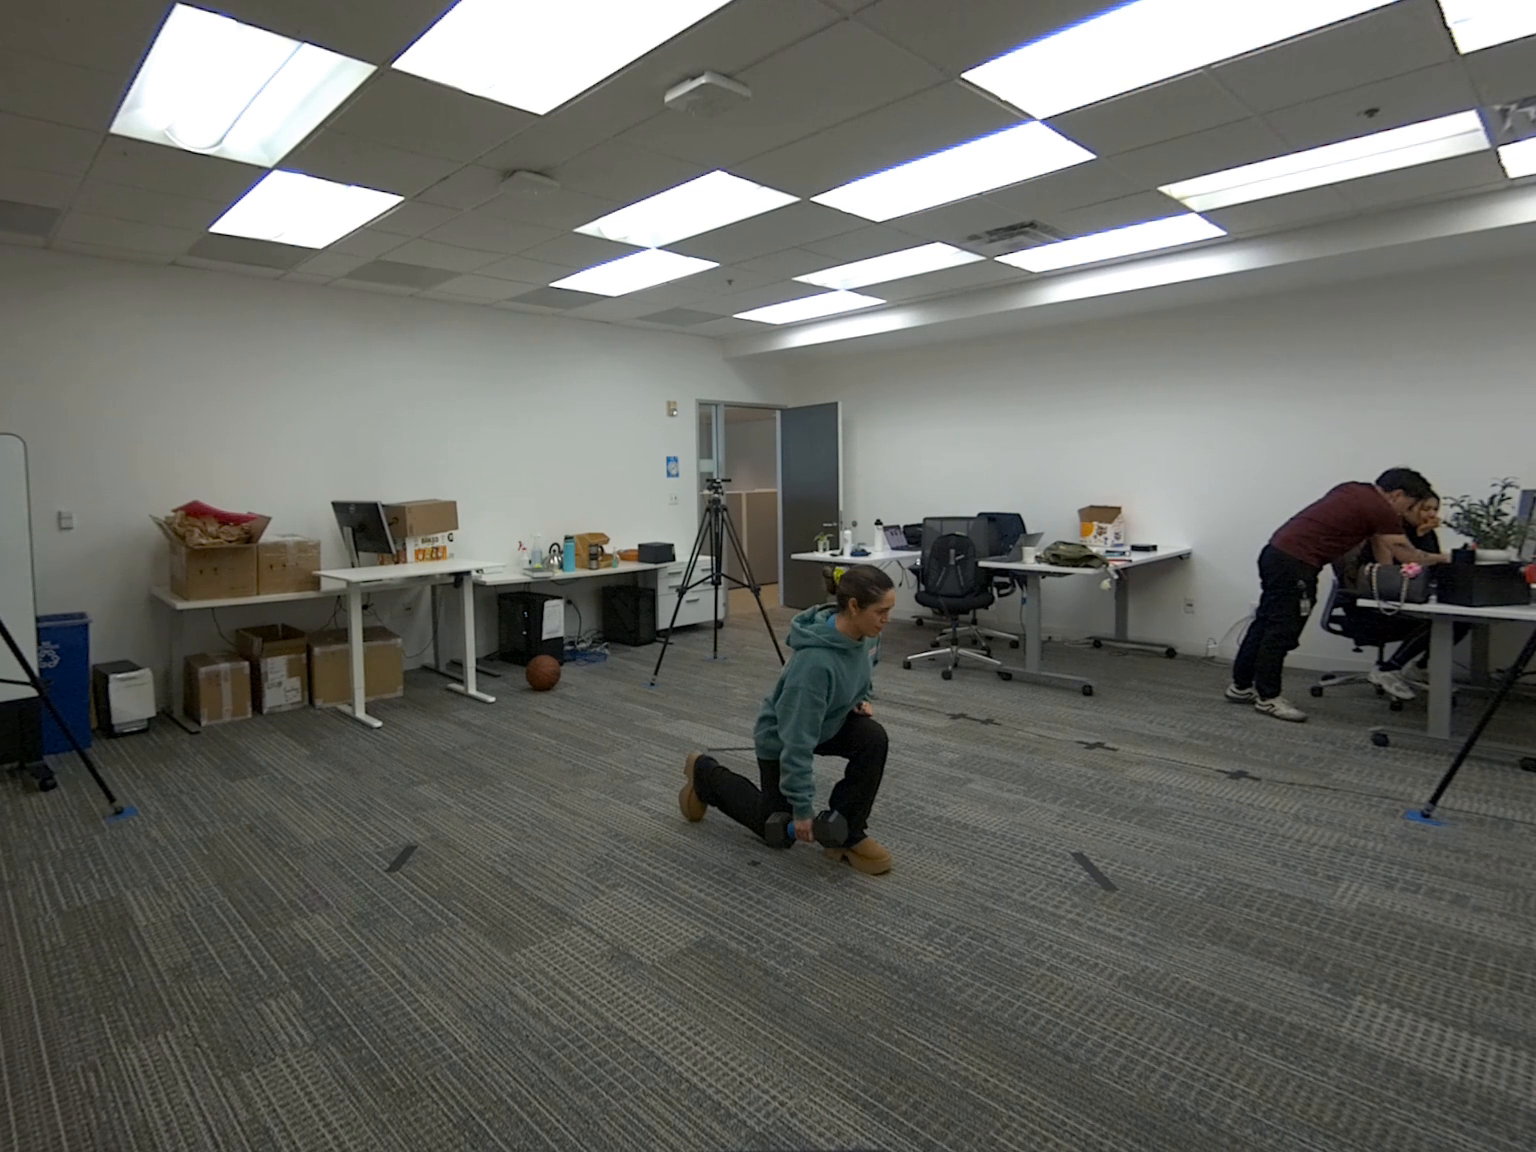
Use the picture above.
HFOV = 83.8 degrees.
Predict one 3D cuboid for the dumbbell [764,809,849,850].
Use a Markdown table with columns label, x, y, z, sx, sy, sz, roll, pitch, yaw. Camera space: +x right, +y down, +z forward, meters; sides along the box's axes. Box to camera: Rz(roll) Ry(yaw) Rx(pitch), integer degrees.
| label | x | y | z | sx | sy | sz | roll | pitch | yaw |
| --- | --- | --- | --- | --- | --- | --- | --- | --- | --- |
| dumbbell | 0.131 | 0.885 | 2.966 | 0.299 | 0.110 | 0.119 | -15 | -48 | 37 |
